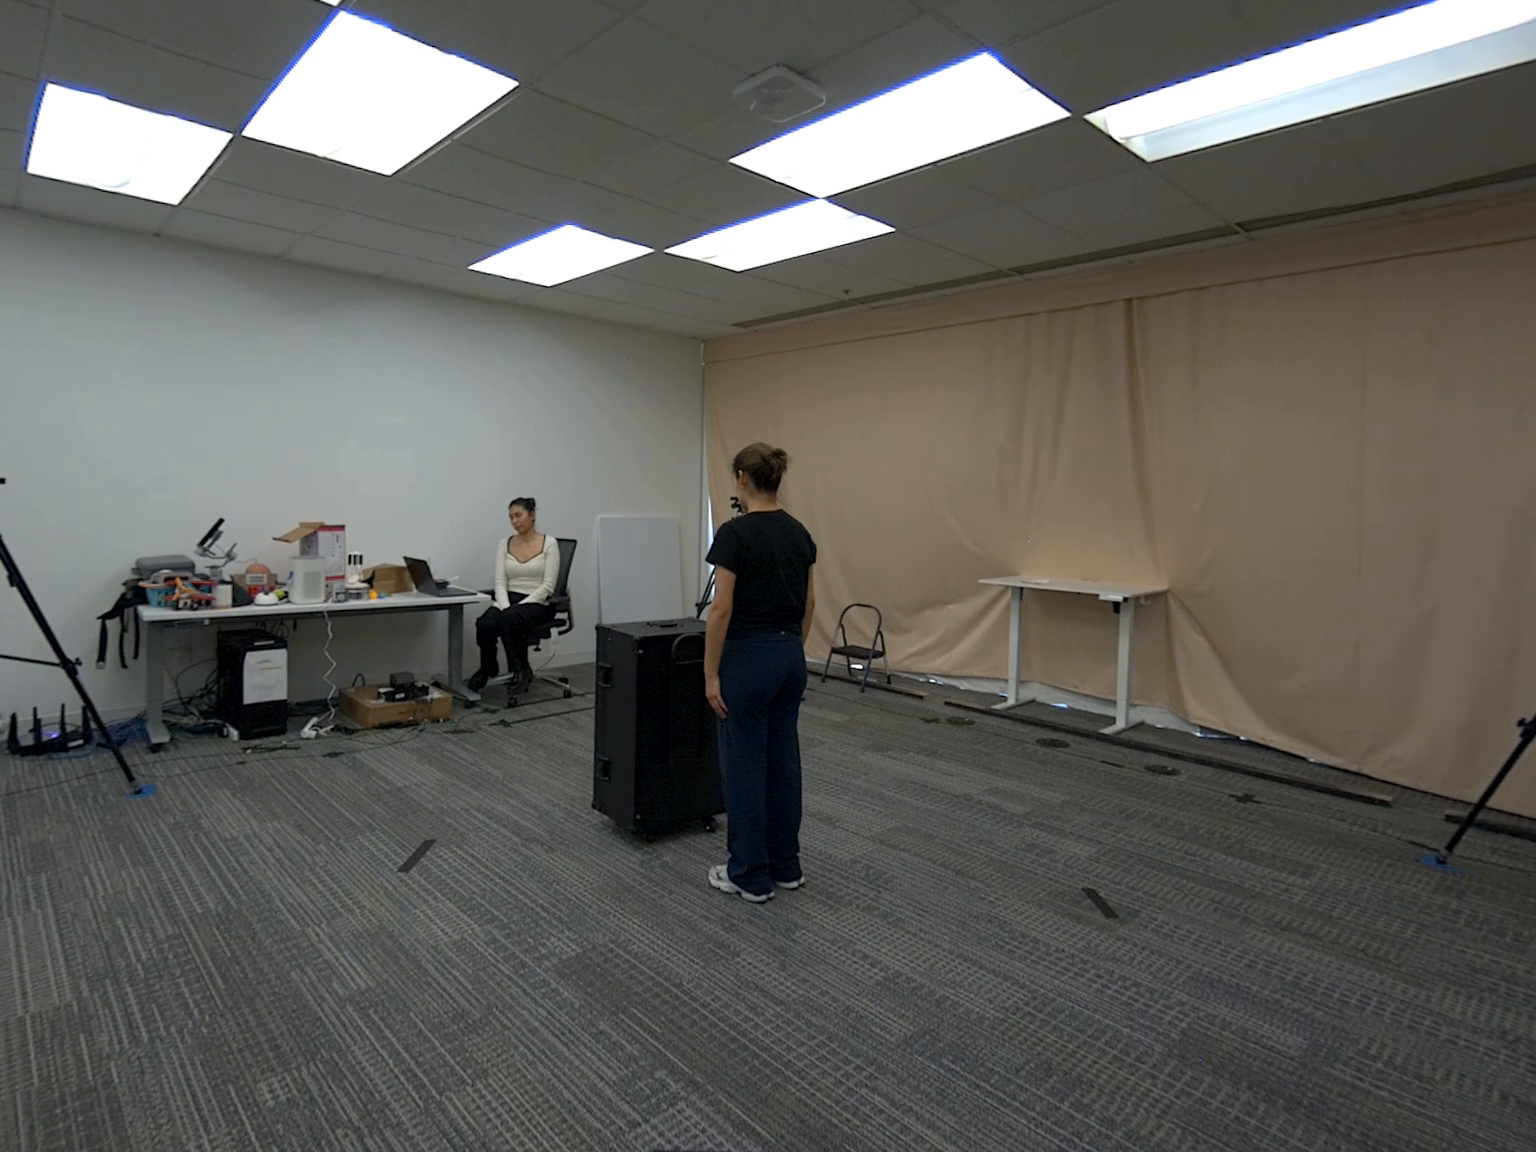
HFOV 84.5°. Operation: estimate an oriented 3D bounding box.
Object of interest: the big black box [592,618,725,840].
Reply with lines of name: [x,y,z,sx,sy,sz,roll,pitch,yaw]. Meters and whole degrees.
big black box: [-0.434,0.579,3.517,0.509,0.860,0.406,0,4,-37]
